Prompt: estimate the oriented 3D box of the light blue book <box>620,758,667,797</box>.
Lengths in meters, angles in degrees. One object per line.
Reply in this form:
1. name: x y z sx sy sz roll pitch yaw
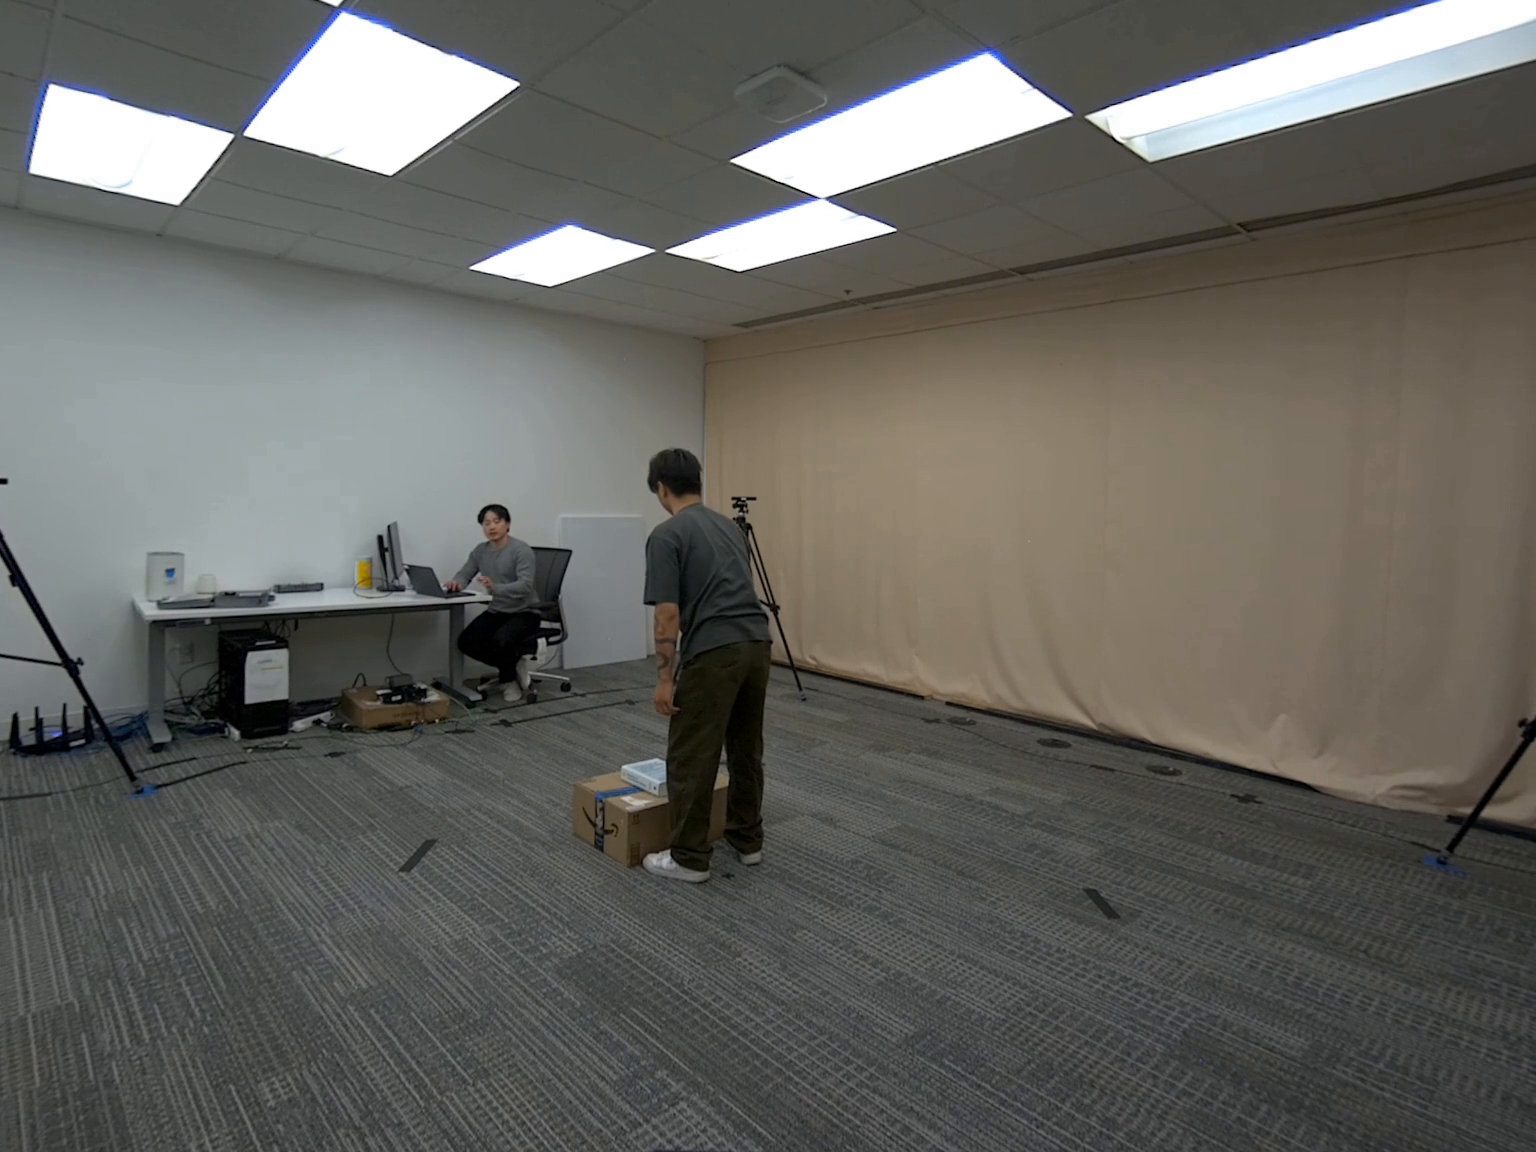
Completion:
1. light blue book: -0.464 0.828 3.480 0.187 0.059 0.268 -2 7 -43
